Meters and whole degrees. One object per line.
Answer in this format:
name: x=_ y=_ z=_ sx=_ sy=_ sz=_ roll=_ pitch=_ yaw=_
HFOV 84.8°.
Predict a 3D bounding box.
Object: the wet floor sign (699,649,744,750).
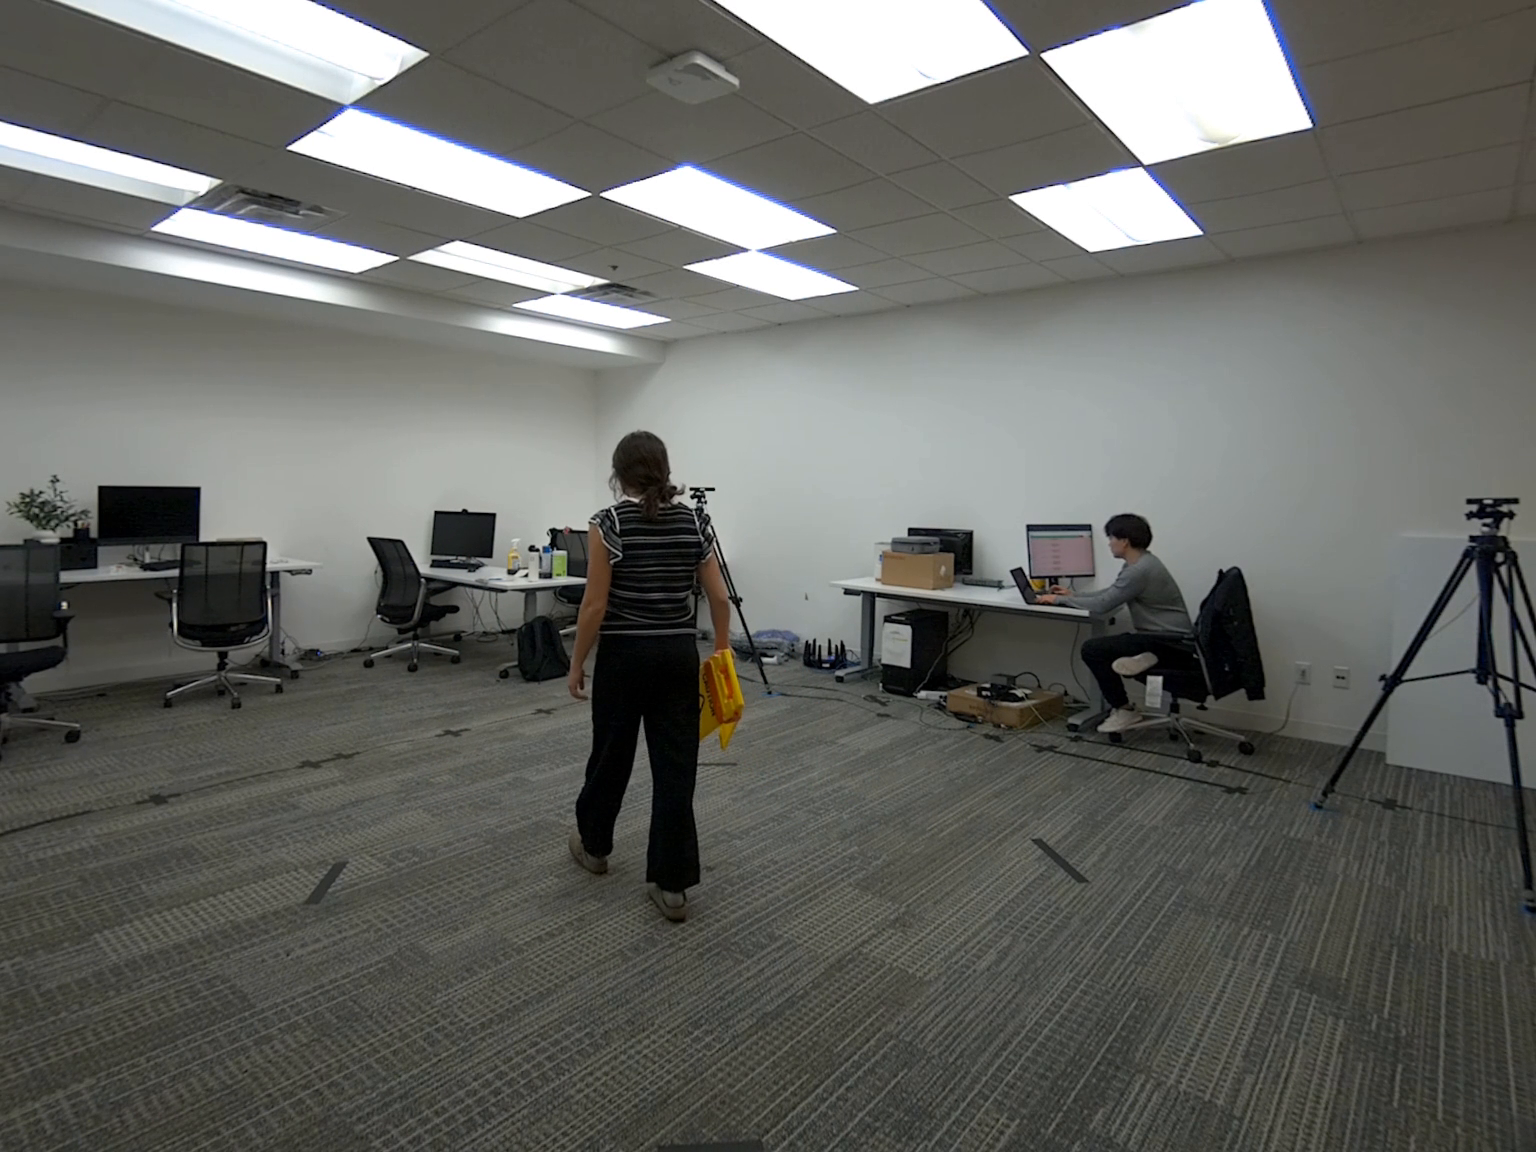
wet floor sign: x=-0.220 y=0.451 z=3.095 sx=0.284 sy=0.289 sz=0.643 roll=-5 pitch=-22 yaw=-23
